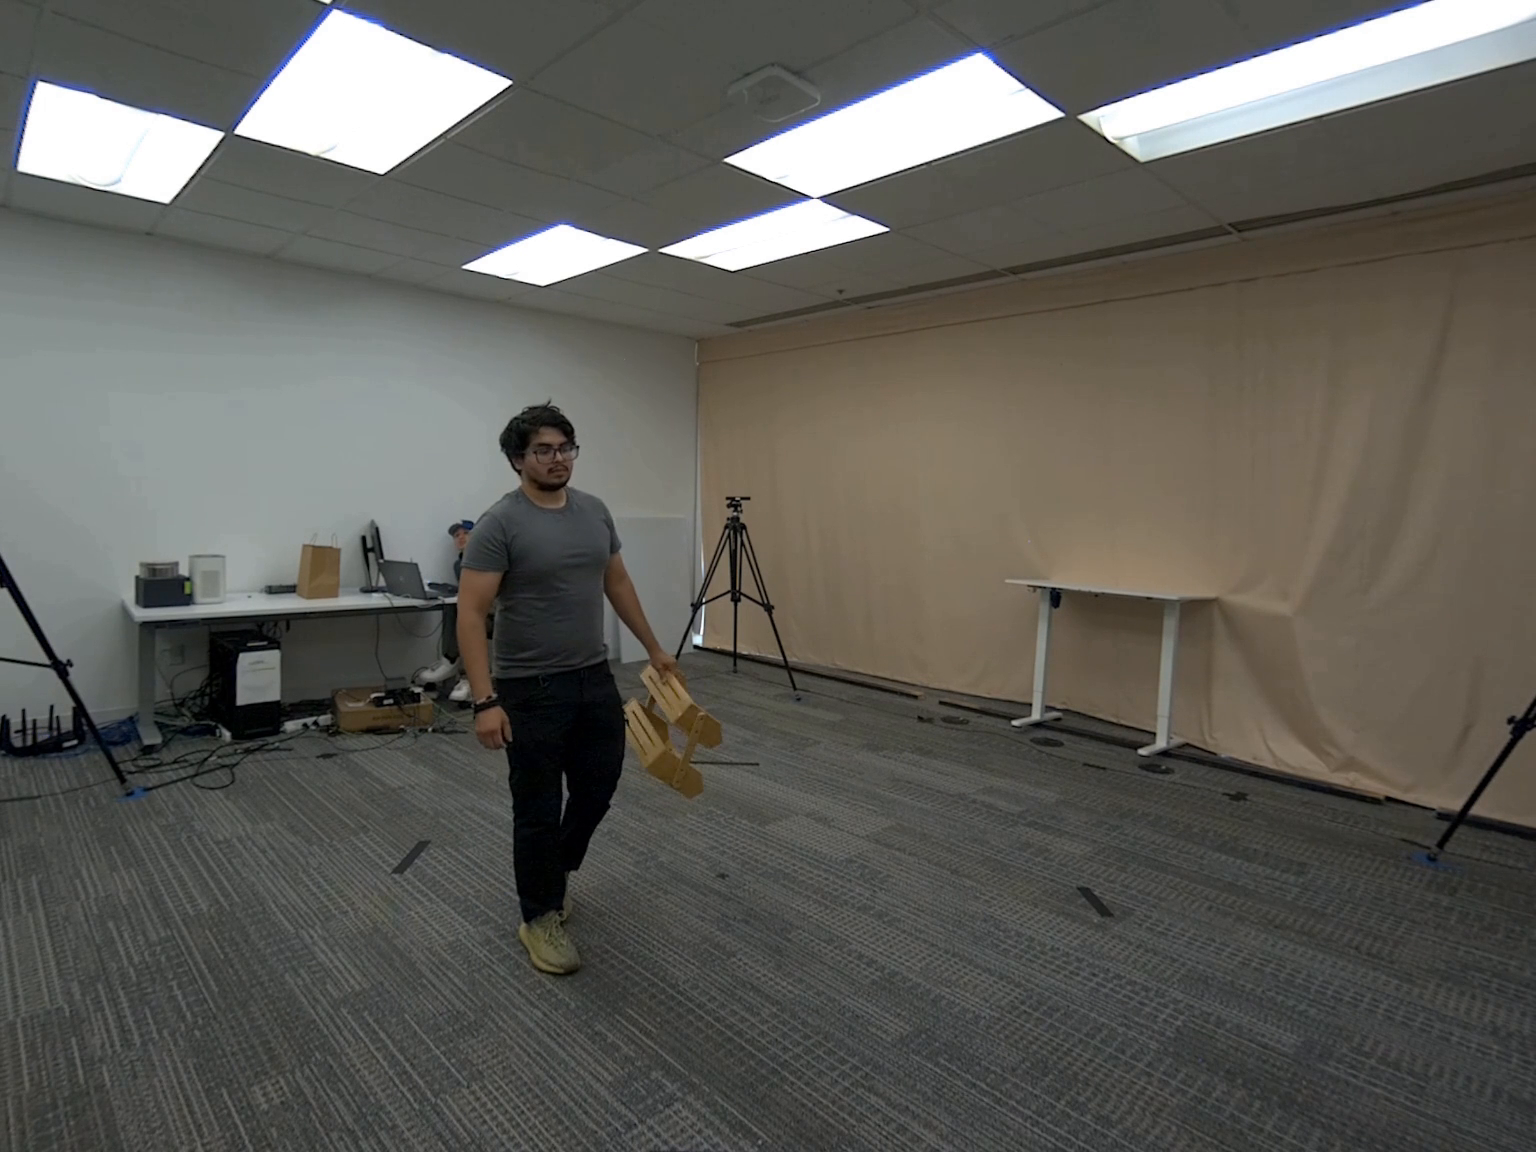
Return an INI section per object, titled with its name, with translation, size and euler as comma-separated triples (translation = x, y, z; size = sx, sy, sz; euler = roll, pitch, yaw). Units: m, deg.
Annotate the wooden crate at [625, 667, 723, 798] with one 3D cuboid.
[wooden crate]
translation = -0.313, 0.501, 2.803
size = 0.293, 0.273, 0.334
euler = 43, -1, -38
